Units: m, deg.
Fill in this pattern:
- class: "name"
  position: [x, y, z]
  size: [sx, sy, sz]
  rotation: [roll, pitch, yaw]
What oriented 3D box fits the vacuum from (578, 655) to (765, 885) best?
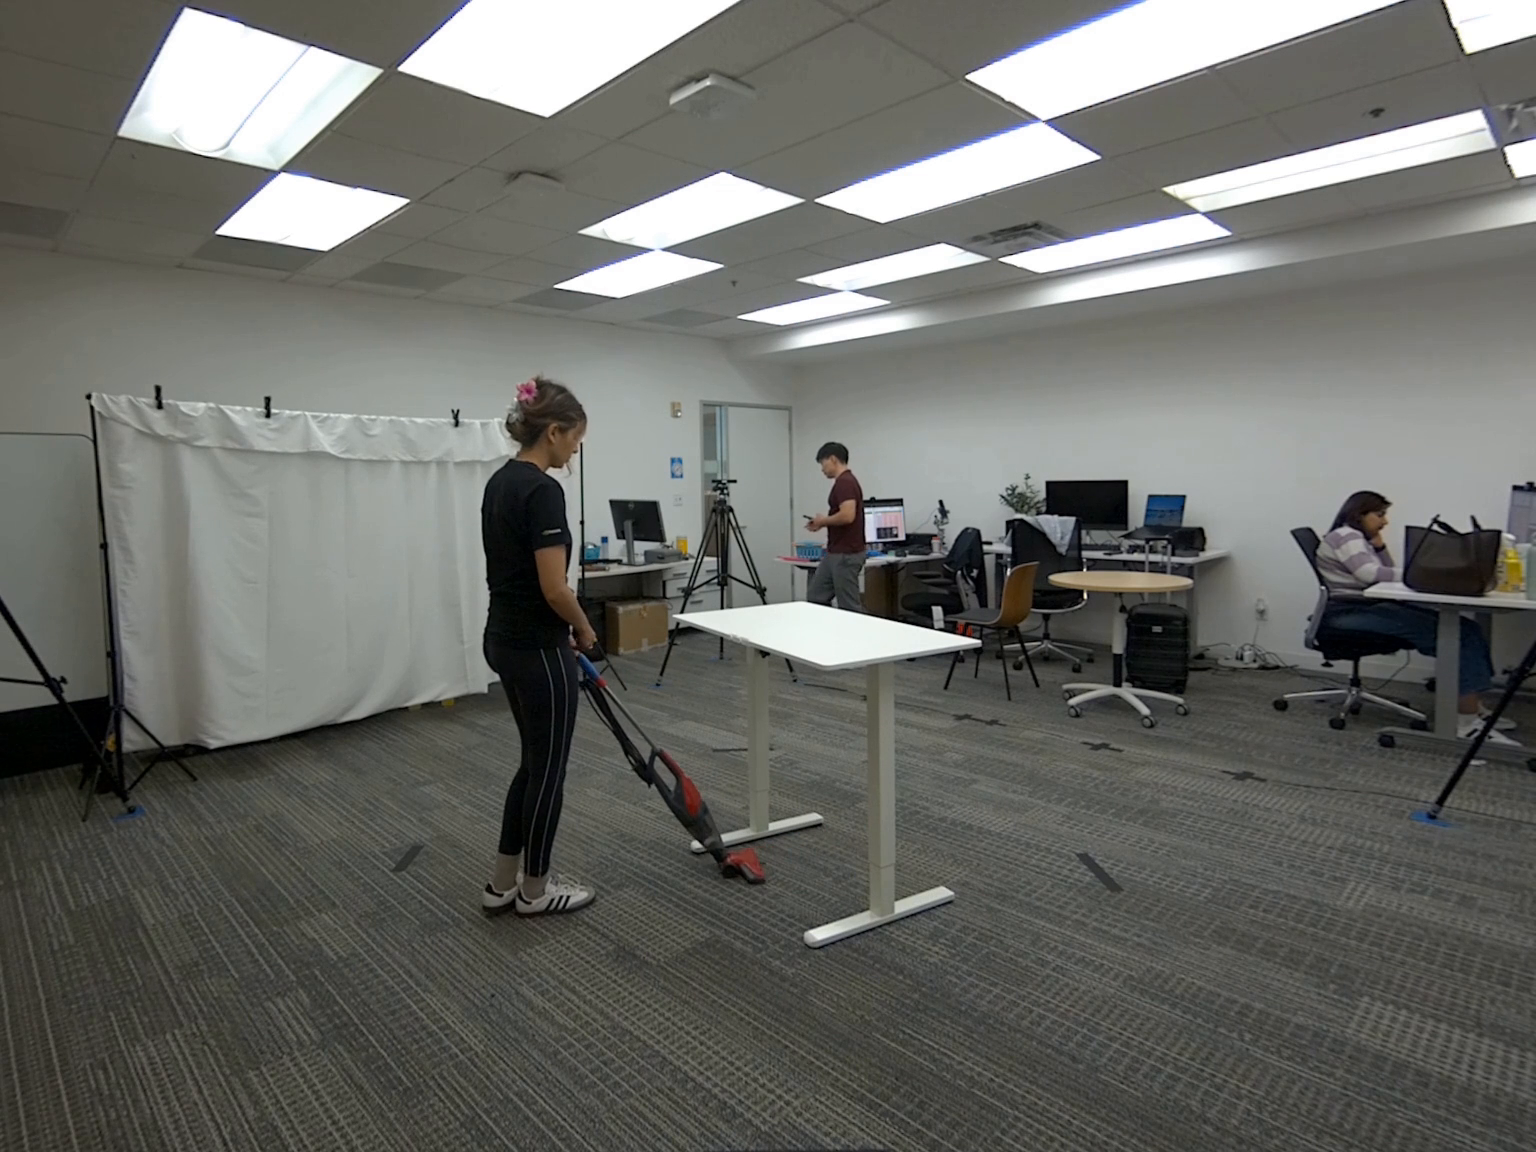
- class: "vacuum"
  position: [-0.419, 0.645, 3.002]
  size: [0.144, 1.040, 0.255]
  rotation: [-42, 7, -10]
